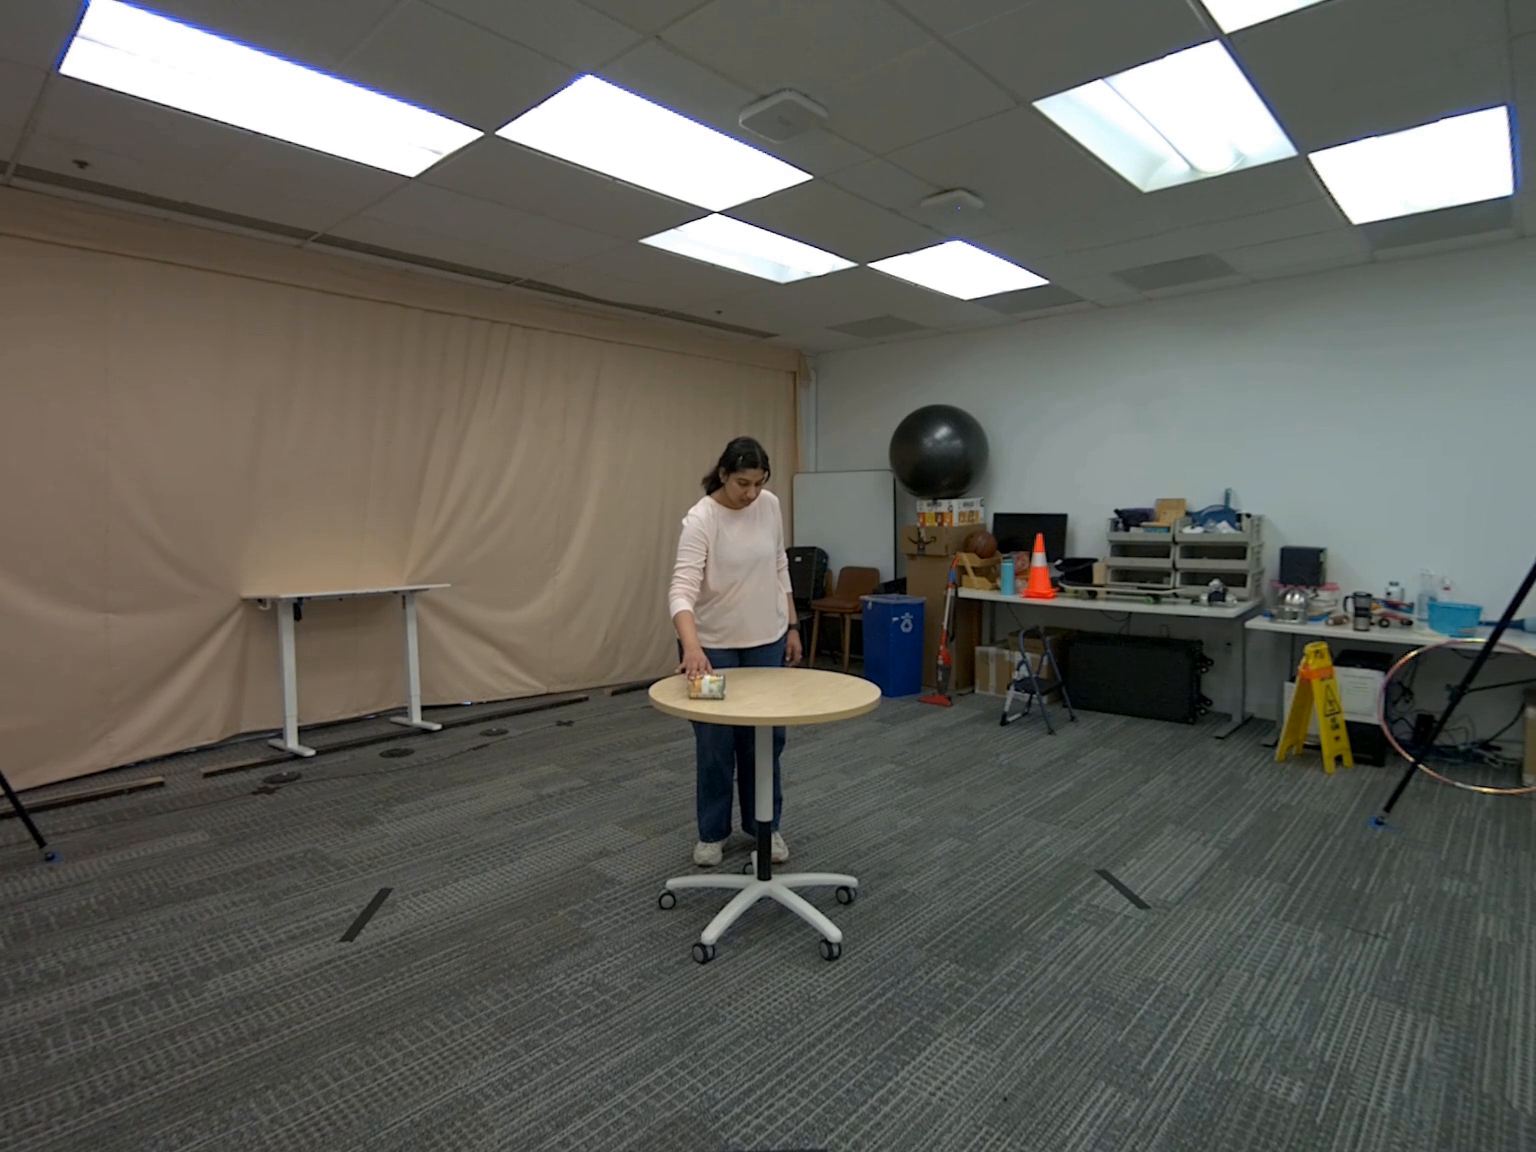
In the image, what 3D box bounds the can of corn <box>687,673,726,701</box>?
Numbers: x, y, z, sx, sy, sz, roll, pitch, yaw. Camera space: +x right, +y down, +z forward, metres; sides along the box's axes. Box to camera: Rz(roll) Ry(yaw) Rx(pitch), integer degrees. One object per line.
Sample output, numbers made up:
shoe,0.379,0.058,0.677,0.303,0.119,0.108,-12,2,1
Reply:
can of corn,-0.198,0.347,2.665,0.112,0.074,0.073,-3,3,9
